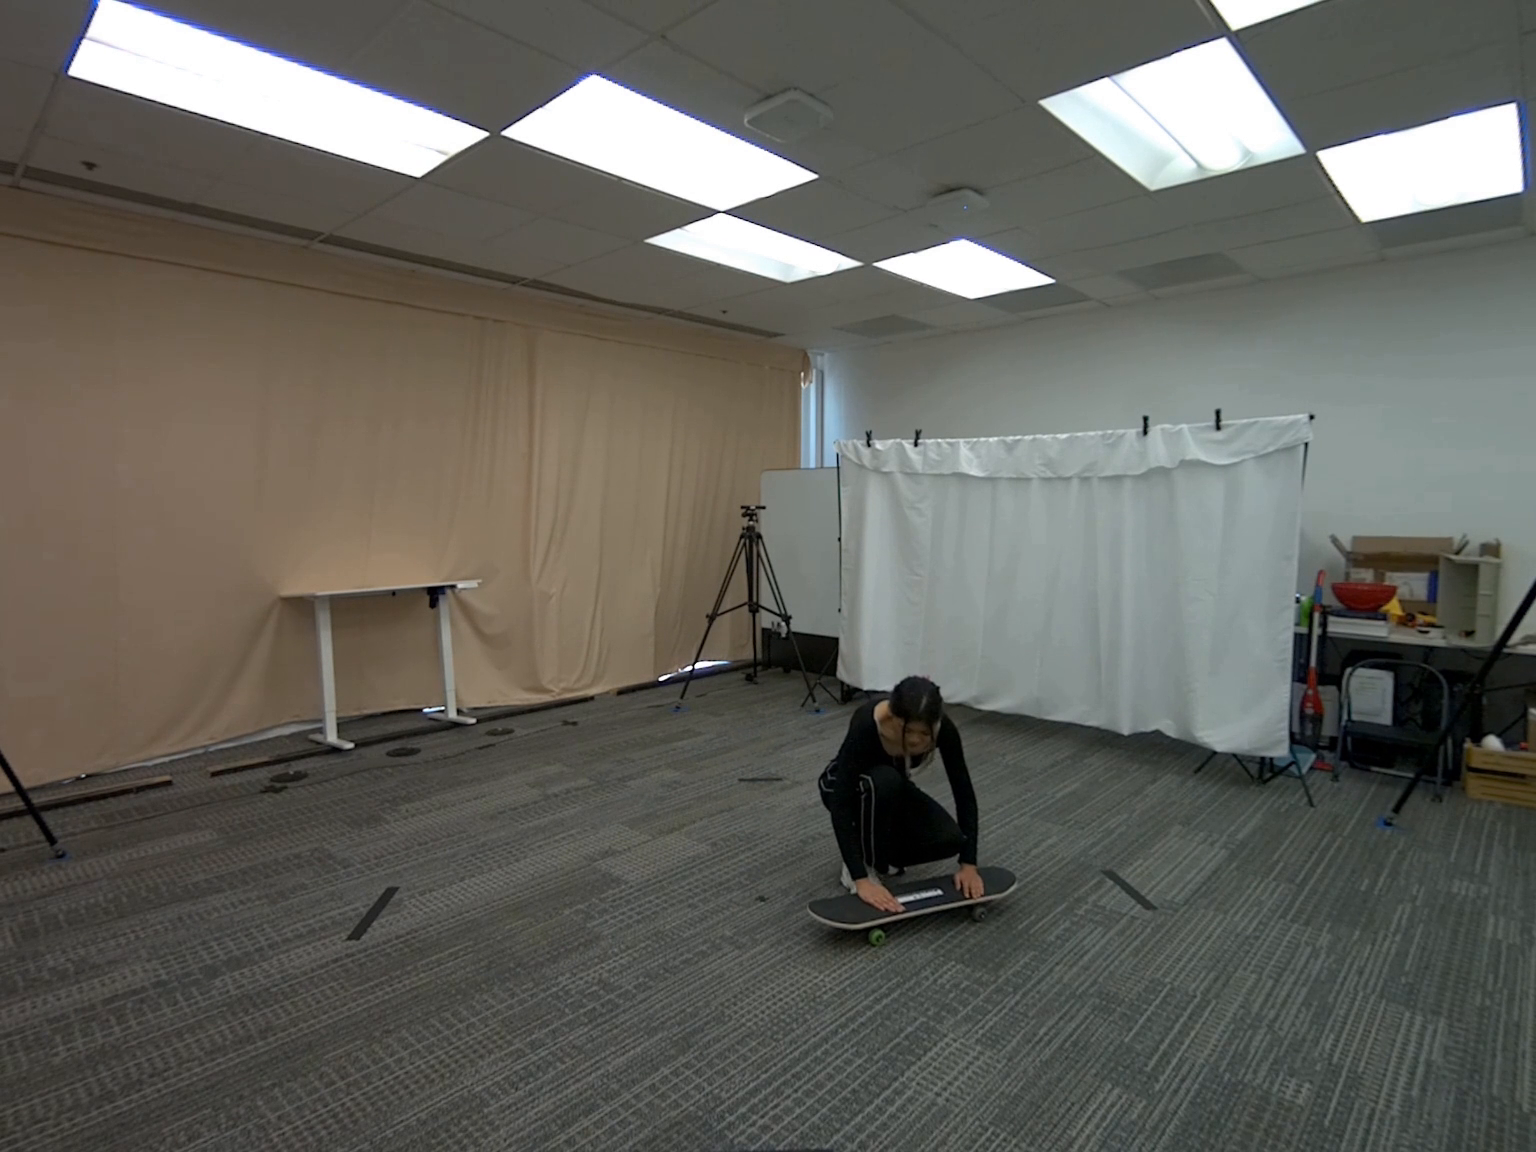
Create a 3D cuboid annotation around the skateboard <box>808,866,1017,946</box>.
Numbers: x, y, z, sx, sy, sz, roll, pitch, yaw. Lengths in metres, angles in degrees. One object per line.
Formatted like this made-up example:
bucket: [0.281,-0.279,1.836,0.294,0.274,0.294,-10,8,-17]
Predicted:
skateboard: [0.490,1.093,2.811,0.768,0.110,0.198,-3,5,-22]
